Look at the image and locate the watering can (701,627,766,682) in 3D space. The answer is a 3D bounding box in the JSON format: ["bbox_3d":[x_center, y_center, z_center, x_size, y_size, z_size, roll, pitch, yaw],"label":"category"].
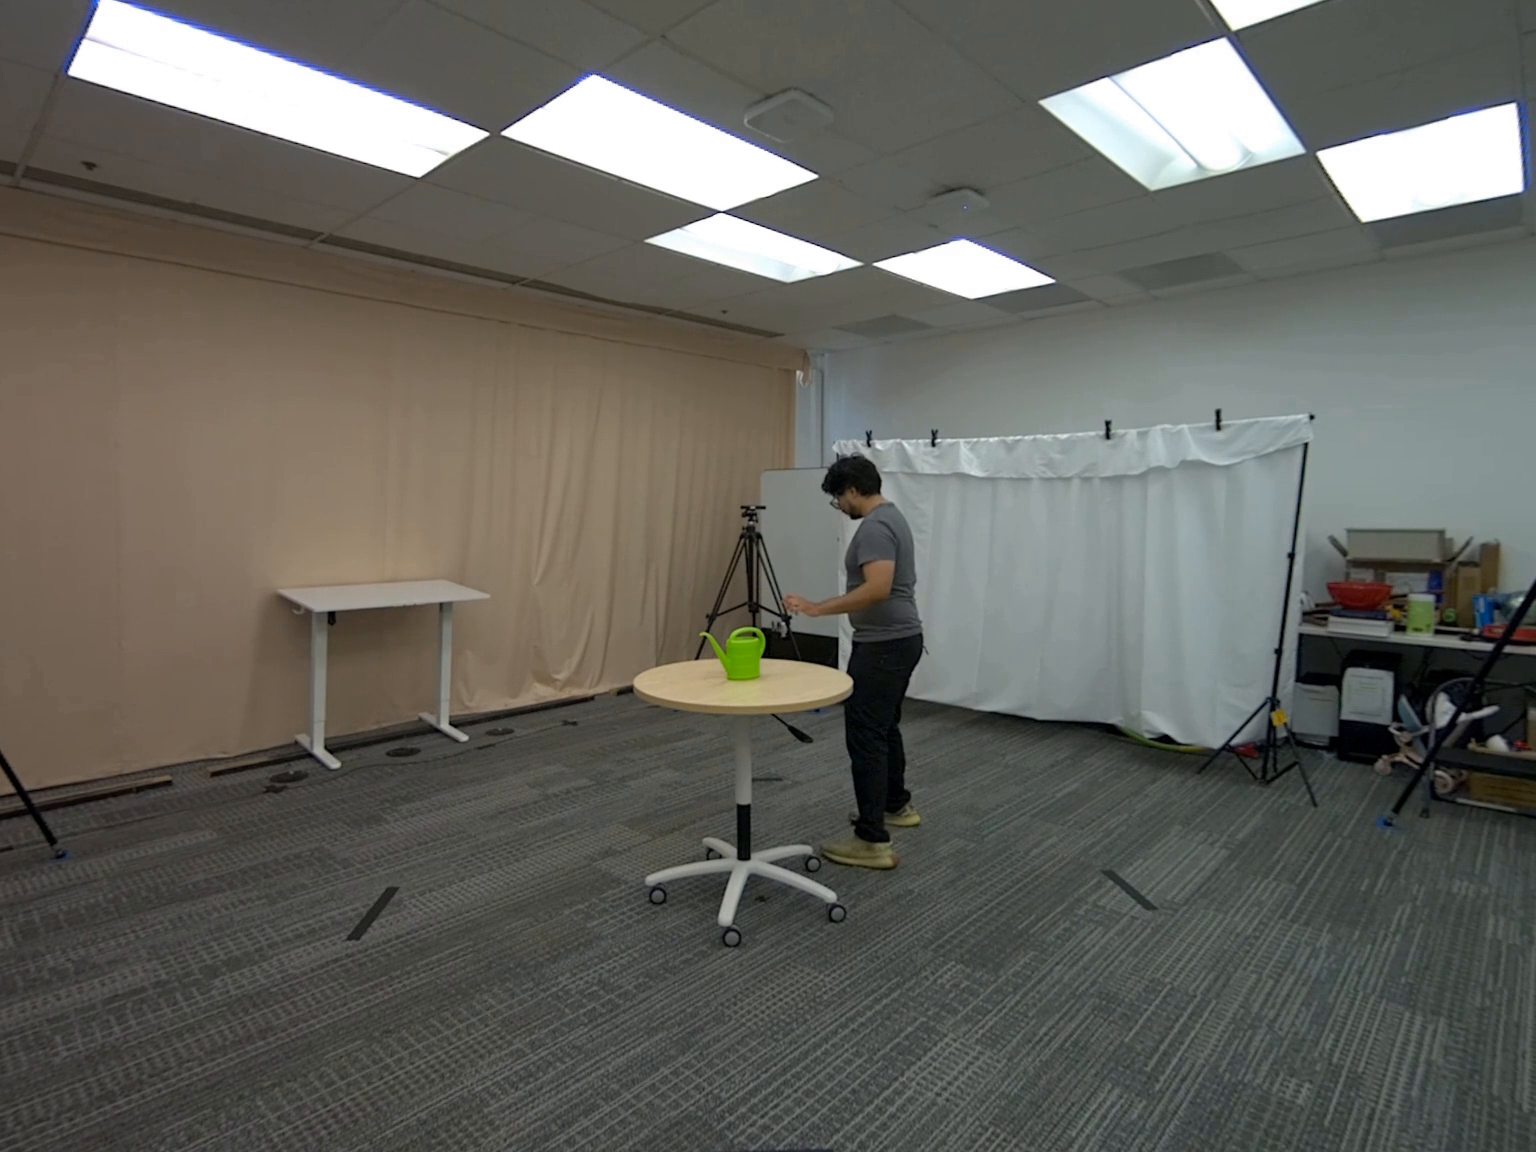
[{"bbox_3d":[-0.123,0.274,2.961,0.272,0.176,0.100,-1,4,-22],"label":"watering can"}]
